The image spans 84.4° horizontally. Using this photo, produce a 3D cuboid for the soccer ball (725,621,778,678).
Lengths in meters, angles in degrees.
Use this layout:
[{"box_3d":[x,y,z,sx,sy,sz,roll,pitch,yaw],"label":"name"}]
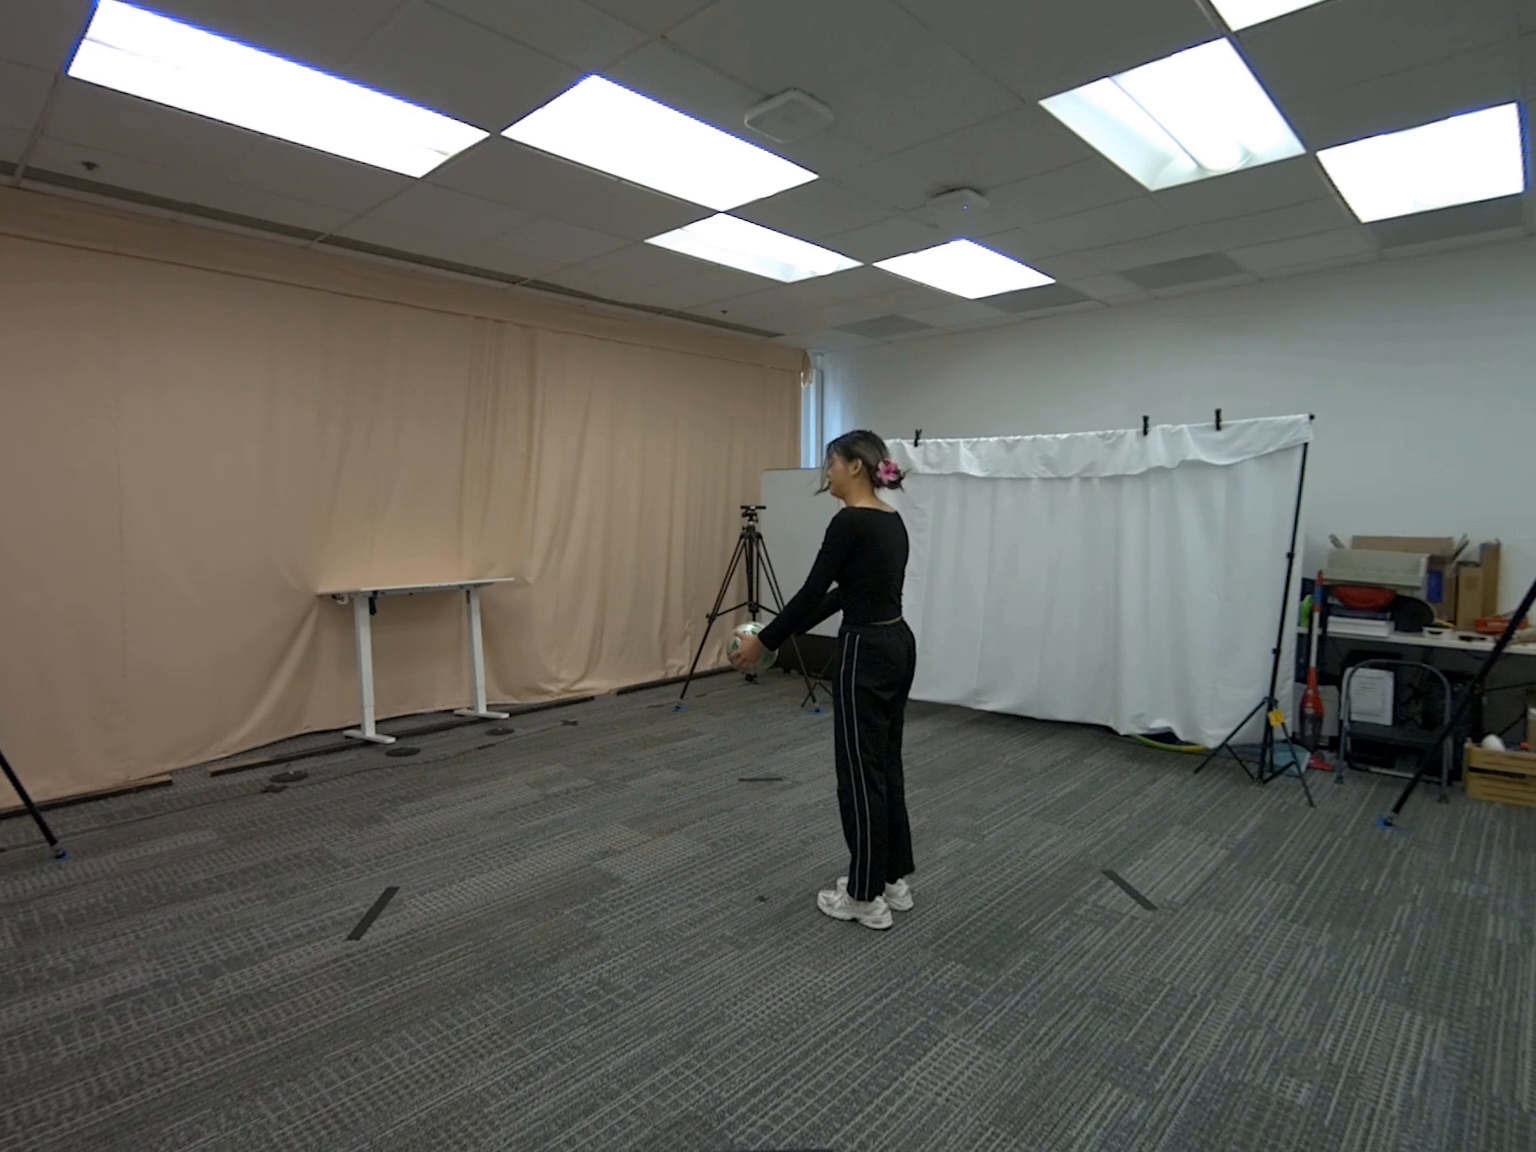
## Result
[{"box_3d":[-0.053,0.259,3.027,0.187,0.187,0.188,0,4,-2],"label":"soccer ball"}]
